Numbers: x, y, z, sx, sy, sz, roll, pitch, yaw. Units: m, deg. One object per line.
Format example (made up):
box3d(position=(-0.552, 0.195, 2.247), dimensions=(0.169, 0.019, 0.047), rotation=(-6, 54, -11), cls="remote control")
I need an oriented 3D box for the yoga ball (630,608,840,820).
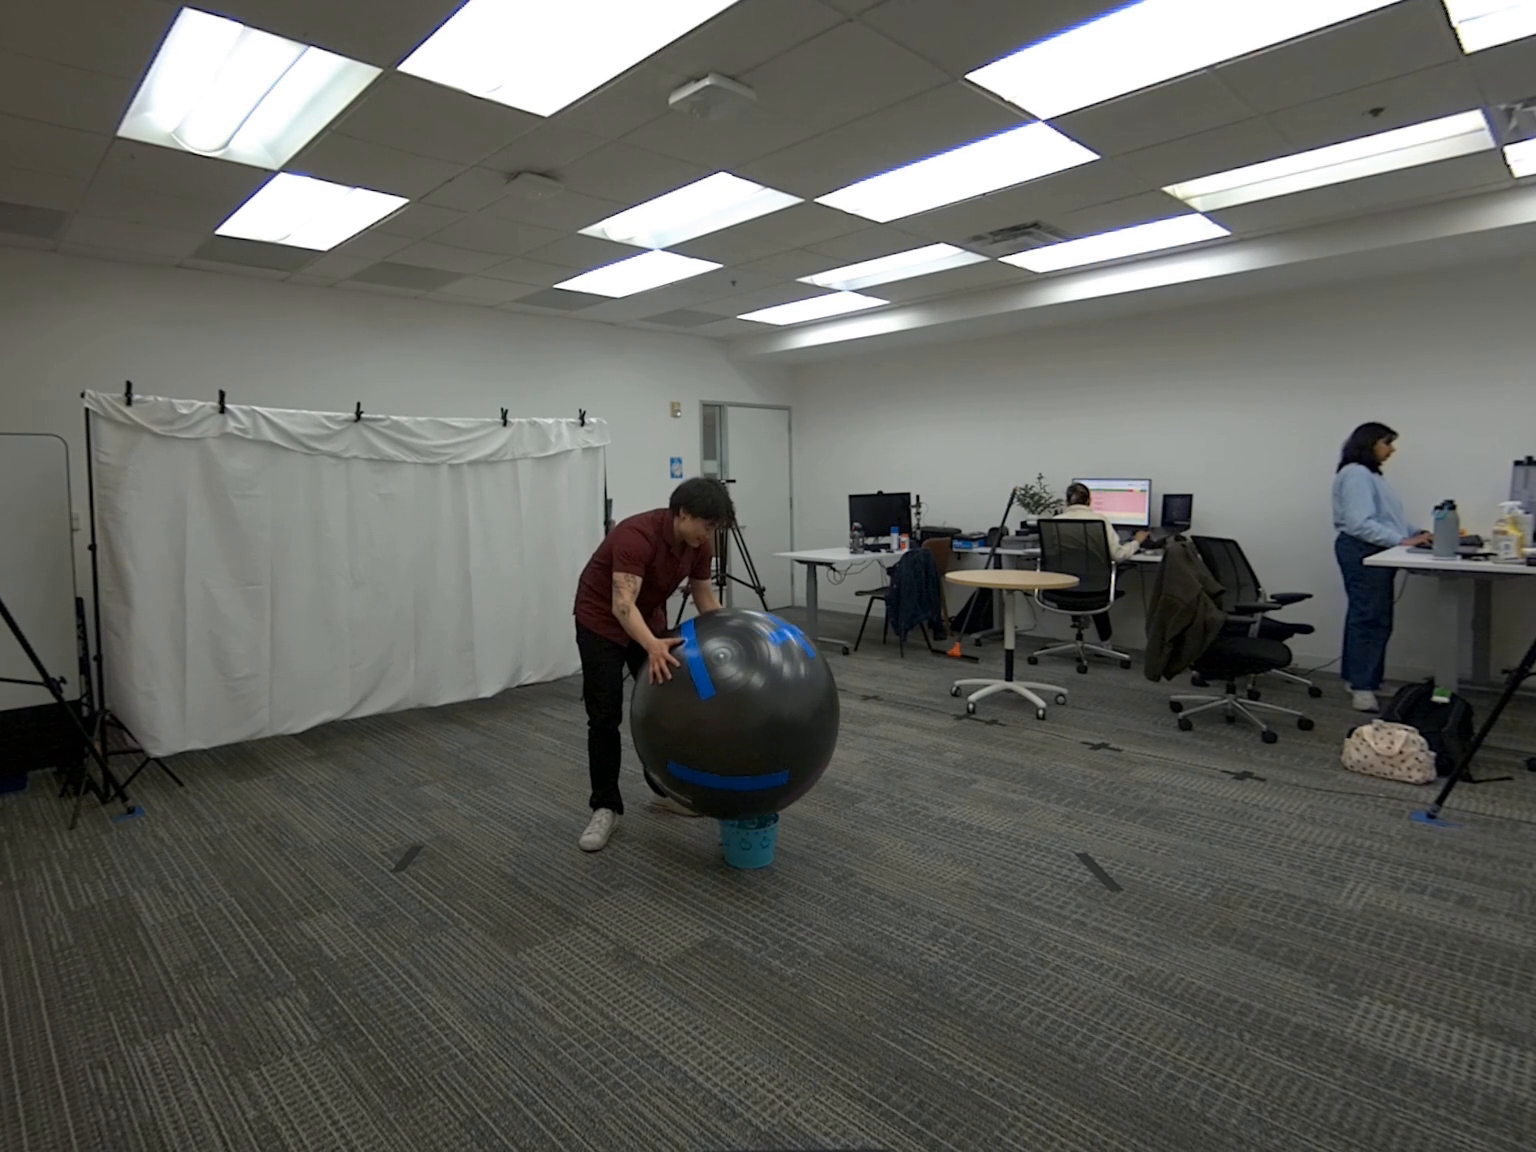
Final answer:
box3d(position=(-0.126, 0.502, 3.101), dimensions=(0.757, 0.755, 0.762), rotation=(-1, 5, -2), cls="yoga ball")
